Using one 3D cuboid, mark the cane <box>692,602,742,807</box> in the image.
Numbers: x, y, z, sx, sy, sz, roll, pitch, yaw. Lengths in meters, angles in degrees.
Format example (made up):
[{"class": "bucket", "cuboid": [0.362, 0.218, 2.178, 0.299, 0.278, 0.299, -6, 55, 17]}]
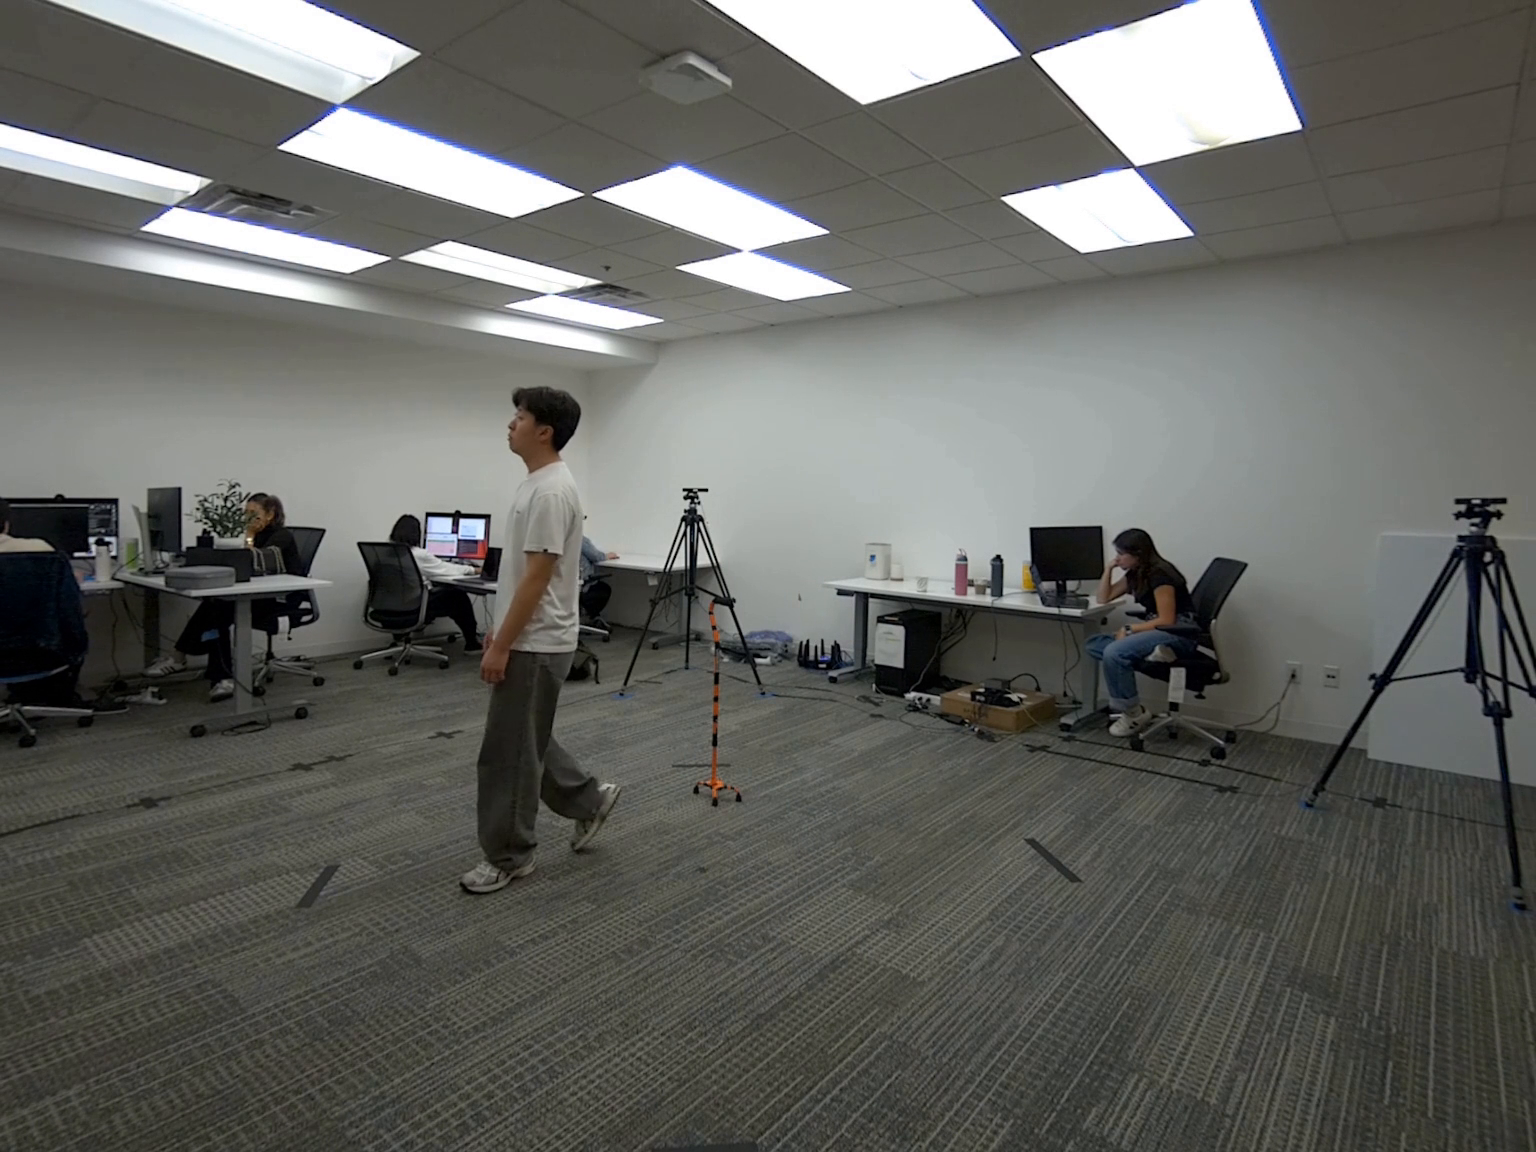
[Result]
[{"class": "cane", "cuboid": [-0.216, 0.540, 3.834, 0.147, 0.906, 0.213, 0, 3, -32]}]
